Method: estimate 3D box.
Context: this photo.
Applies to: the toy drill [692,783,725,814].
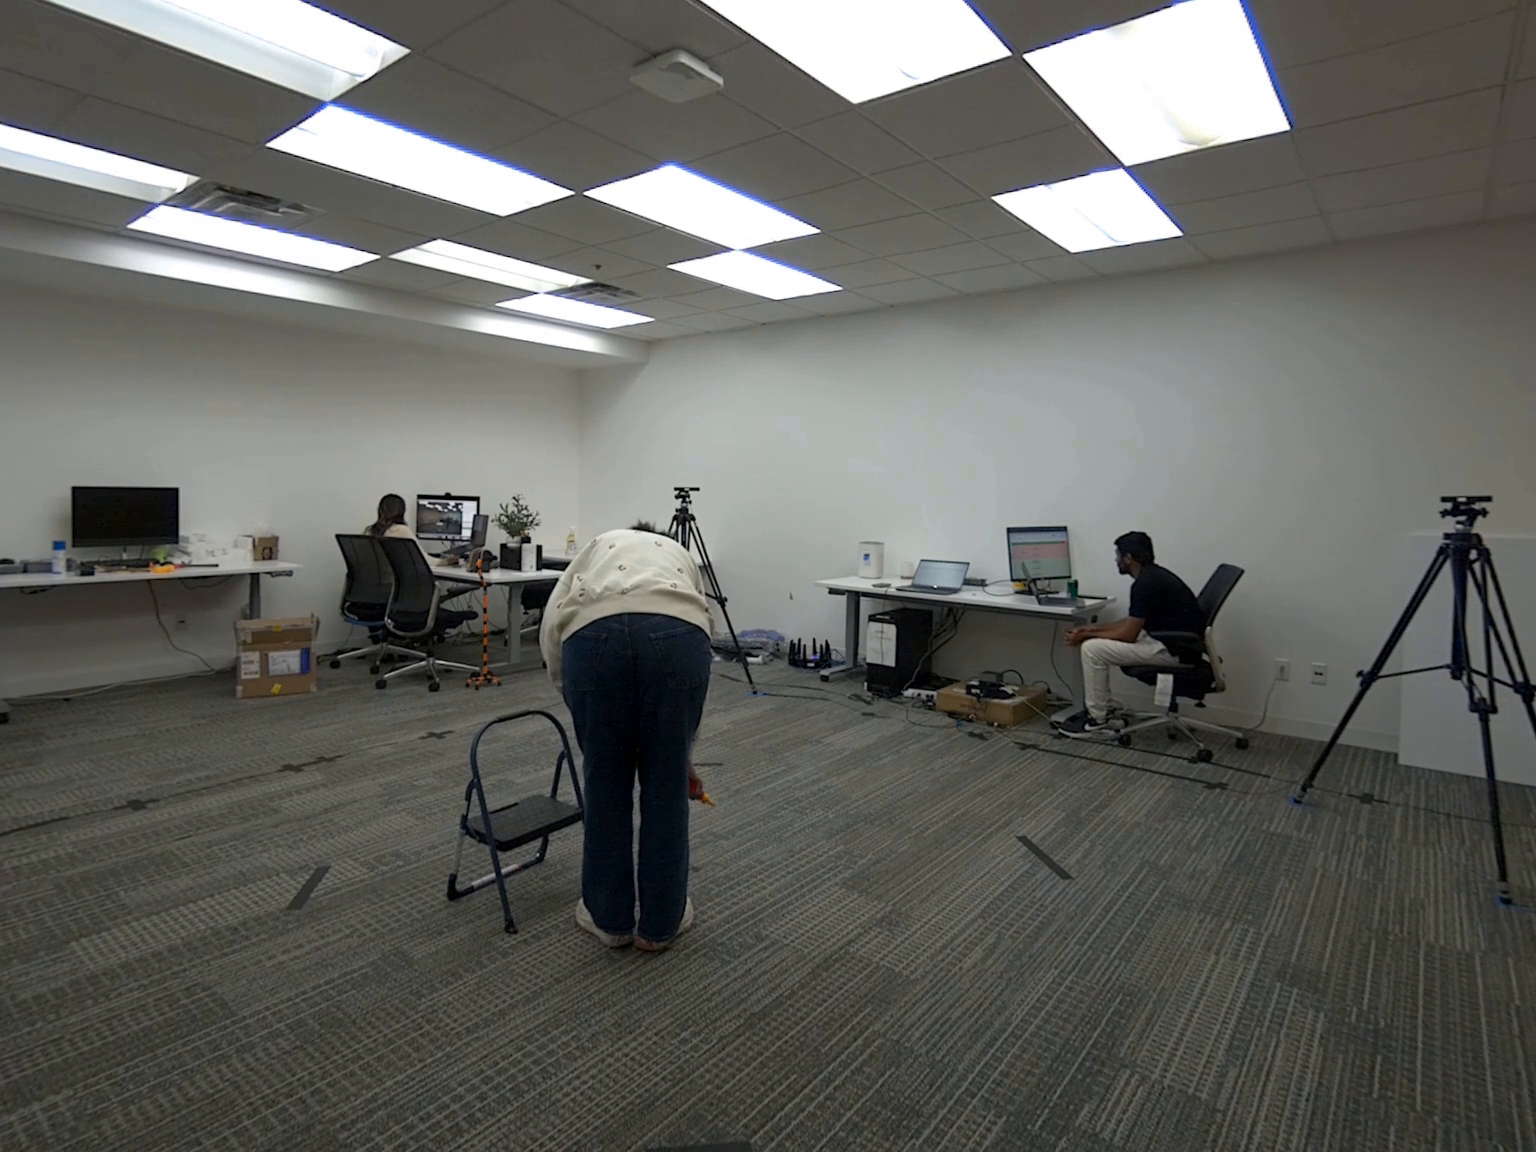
[{"bbox_3d":[-0.249,0.745,2.920,0.171,0.061,0.145,33,-17,3],"label":"toy drill"}]
